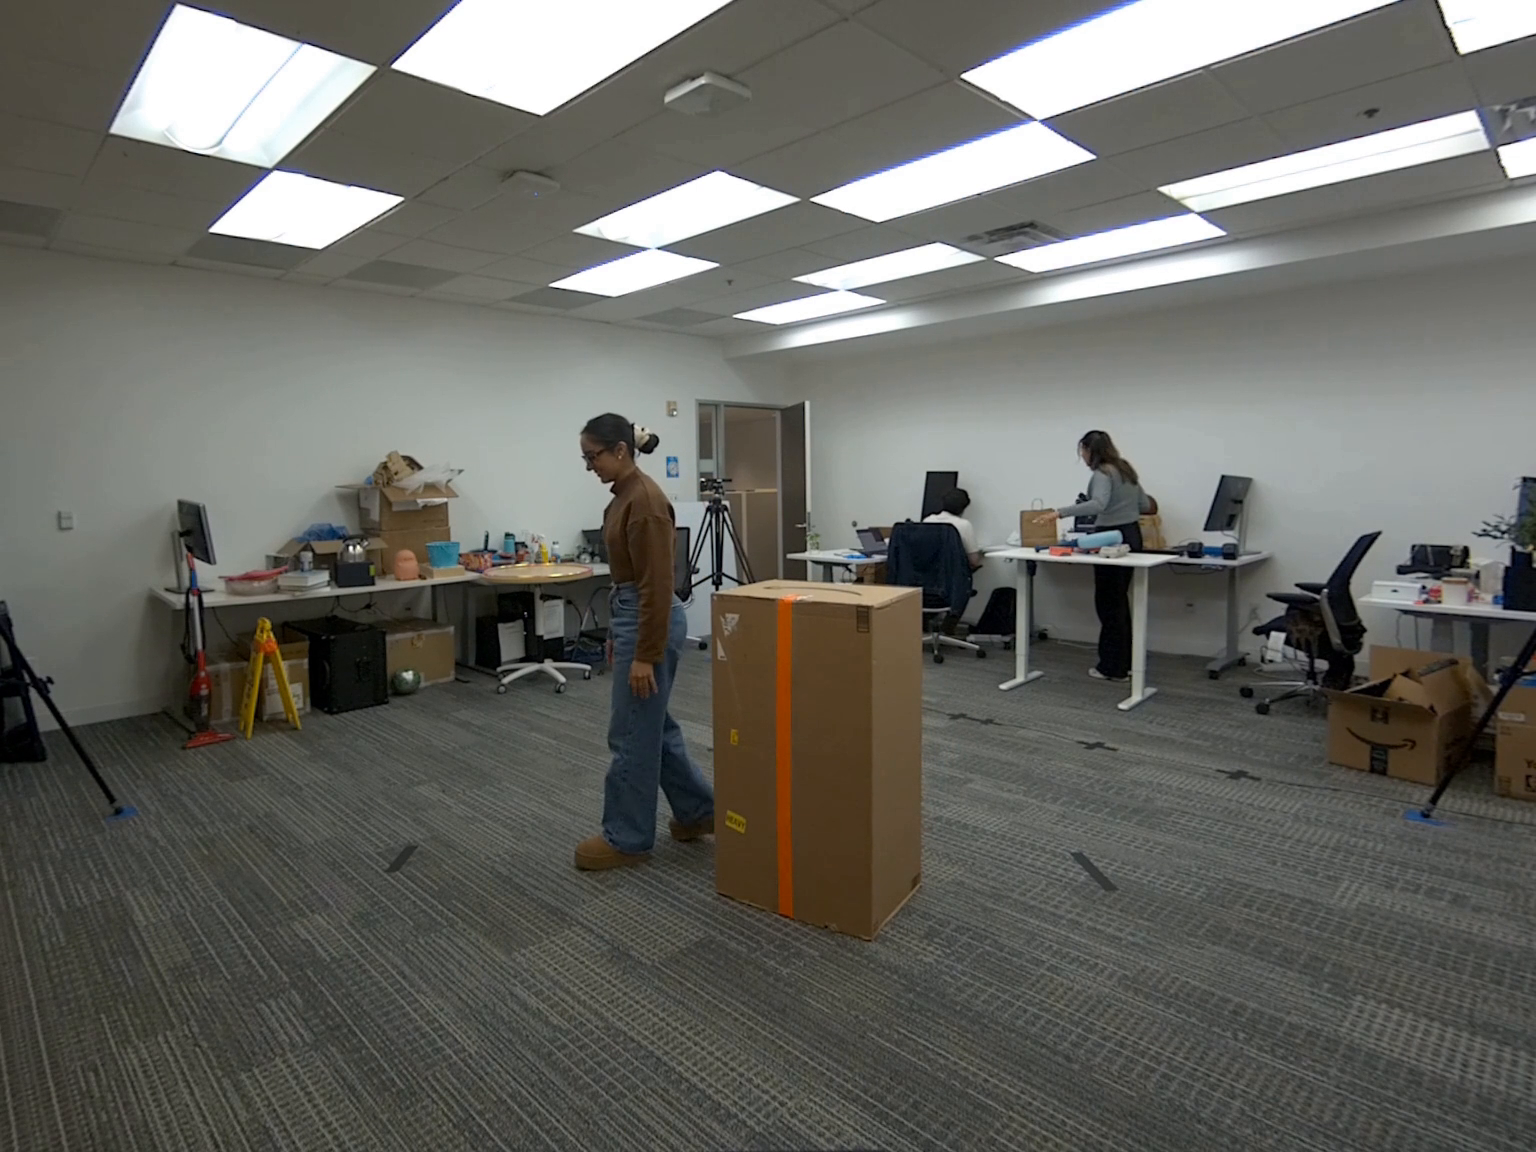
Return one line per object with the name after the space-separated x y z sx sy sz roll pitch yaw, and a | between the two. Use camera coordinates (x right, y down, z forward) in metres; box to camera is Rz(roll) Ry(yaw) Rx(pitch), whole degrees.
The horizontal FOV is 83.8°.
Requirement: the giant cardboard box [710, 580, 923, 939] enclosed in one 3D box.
0.170 0.562 2.857 0.600 1.023 0.436 2 5 32 | giant cardboard box
